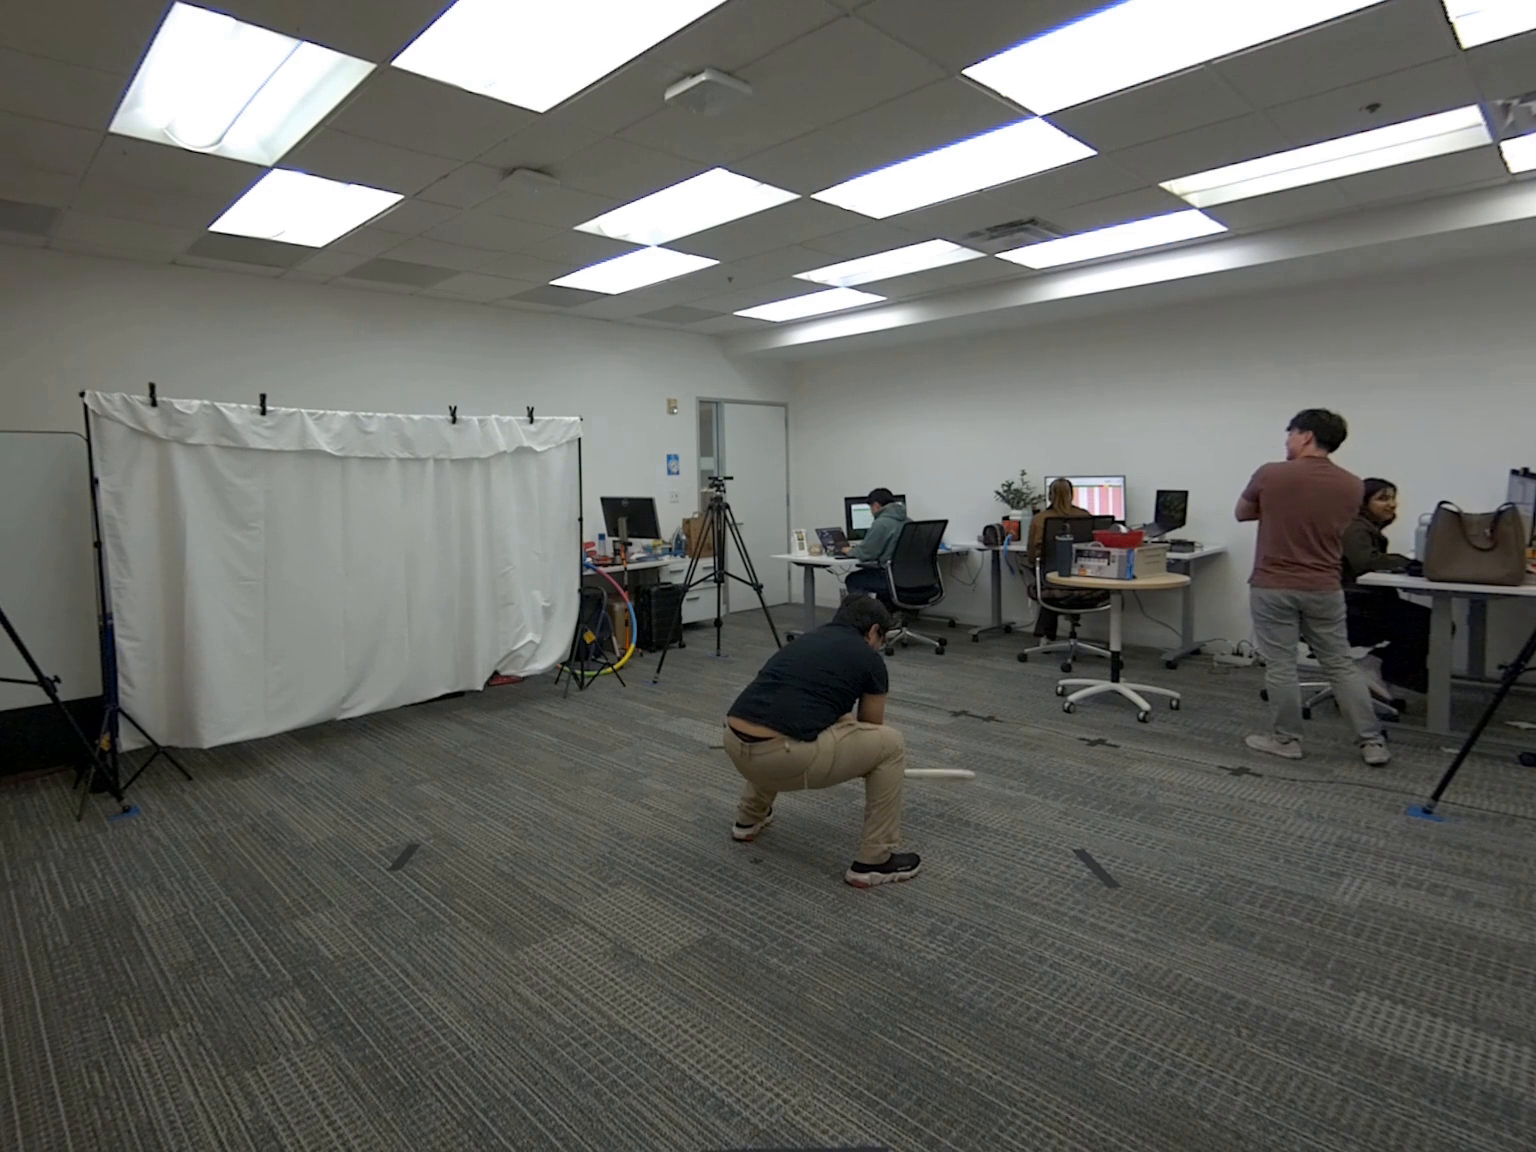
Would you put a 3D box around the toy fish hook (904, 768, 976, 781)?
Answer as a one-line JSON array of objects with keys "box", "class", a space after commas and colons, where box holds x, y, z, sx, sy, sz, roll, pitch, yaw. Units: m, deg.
[{"box": [0.606, 0.831, 3.545, 0.504, 0.049, 0.221, 3, -22, -4], "class": "toy fish hook"}]
